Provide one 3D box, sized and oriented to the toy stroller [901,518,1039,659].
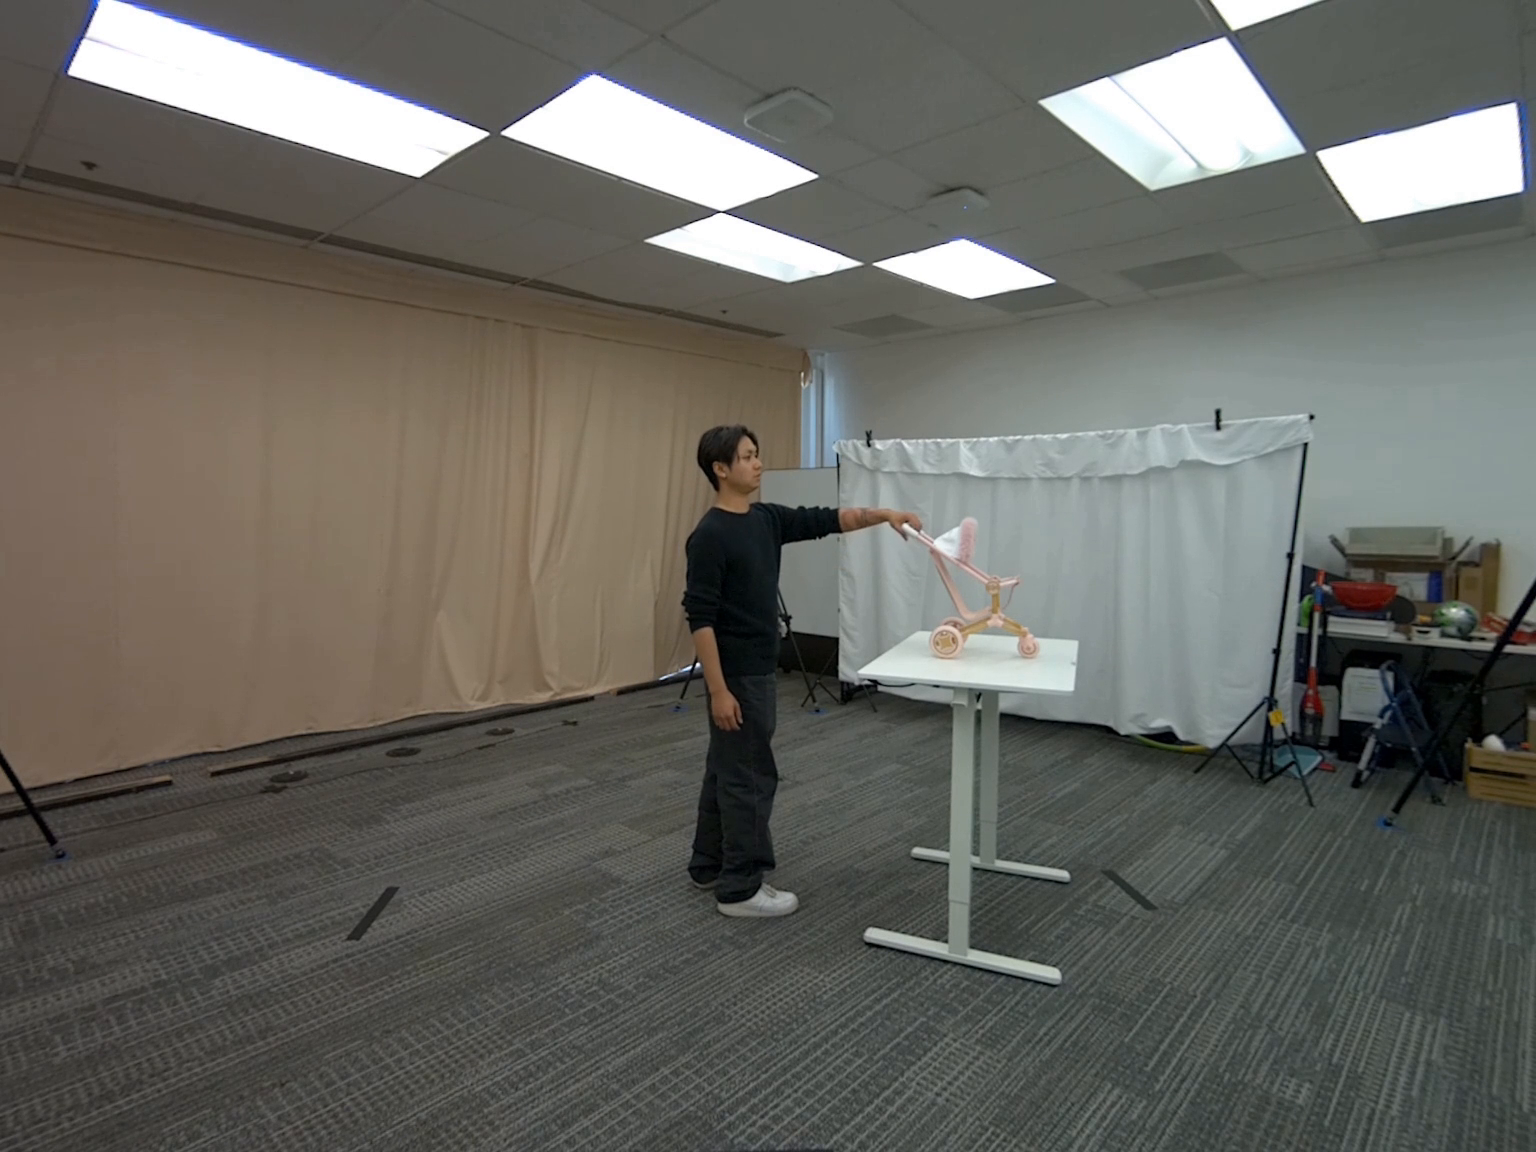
[{"bbox_3d":[0.702,0.045,2.861,0.348,0.536,0.275,-14,-3,24],"label":"toy stroller"}]
